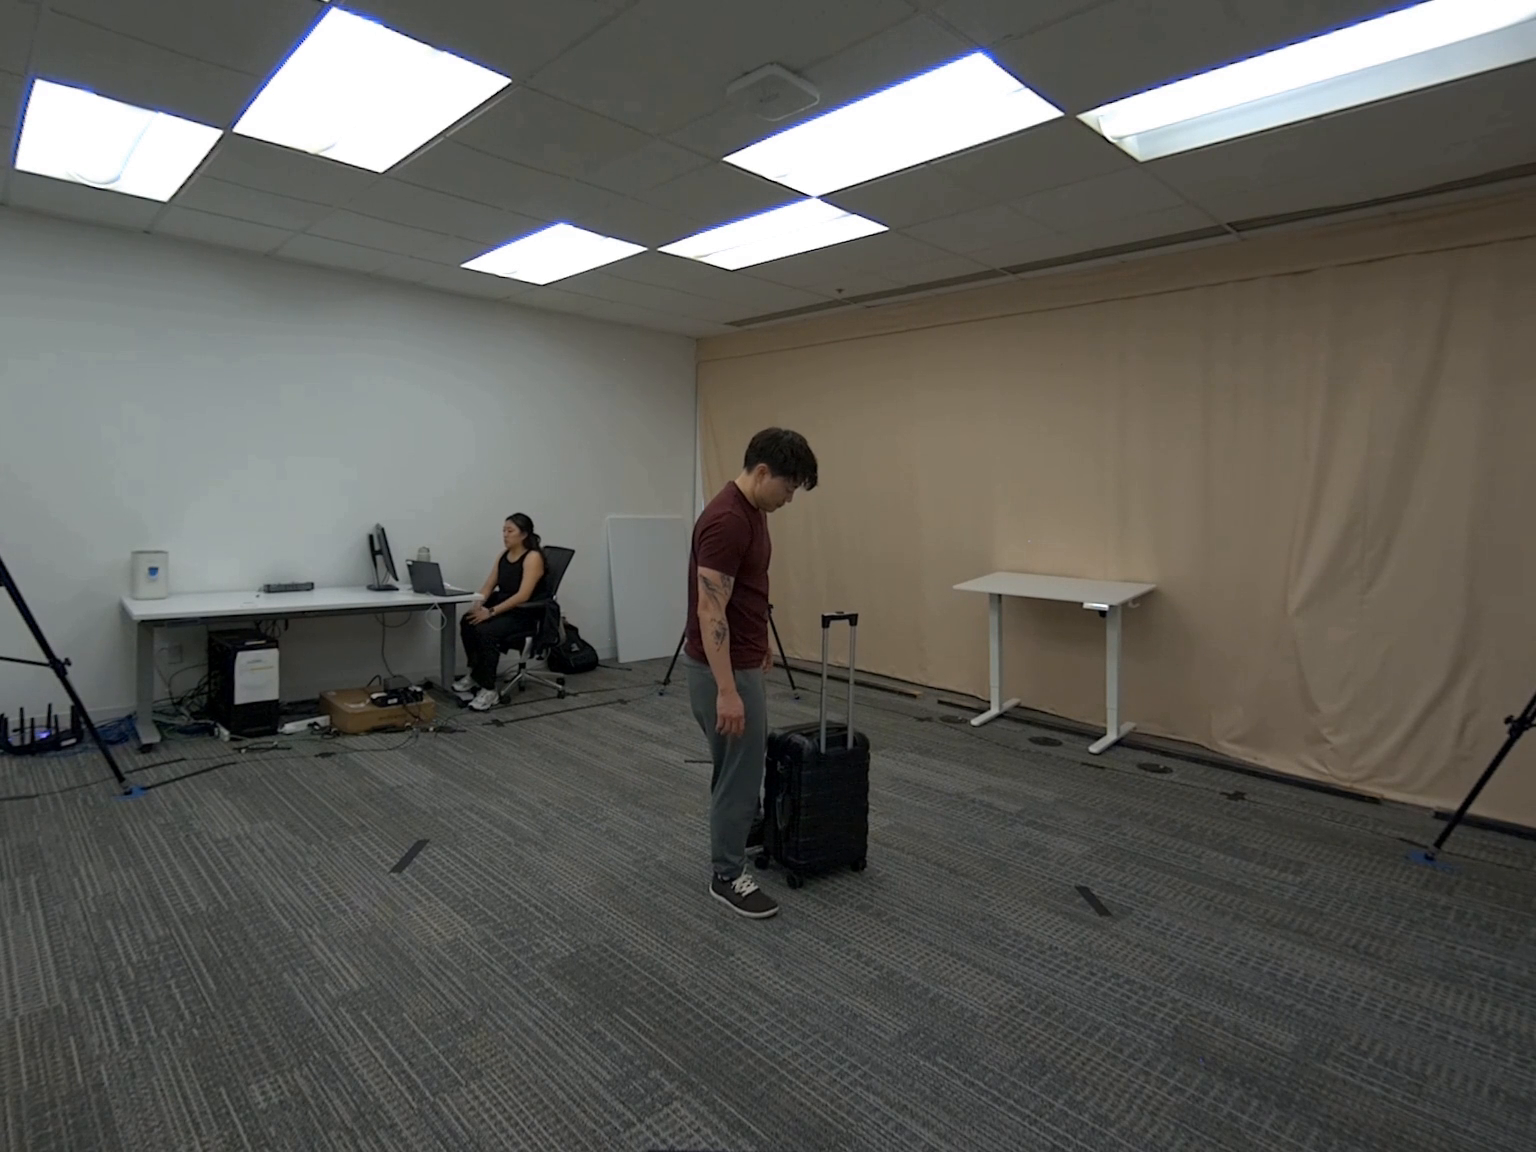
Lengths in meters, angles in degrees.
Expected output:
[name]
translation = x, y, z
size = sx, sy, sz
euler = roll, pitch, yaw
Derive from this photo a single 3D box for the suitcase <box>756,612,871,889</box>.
[suitcase]
translation = 0.186, 0.629, 3.143
size = 0.376, 0.978, 0.263
euler = 2, 2, -31
